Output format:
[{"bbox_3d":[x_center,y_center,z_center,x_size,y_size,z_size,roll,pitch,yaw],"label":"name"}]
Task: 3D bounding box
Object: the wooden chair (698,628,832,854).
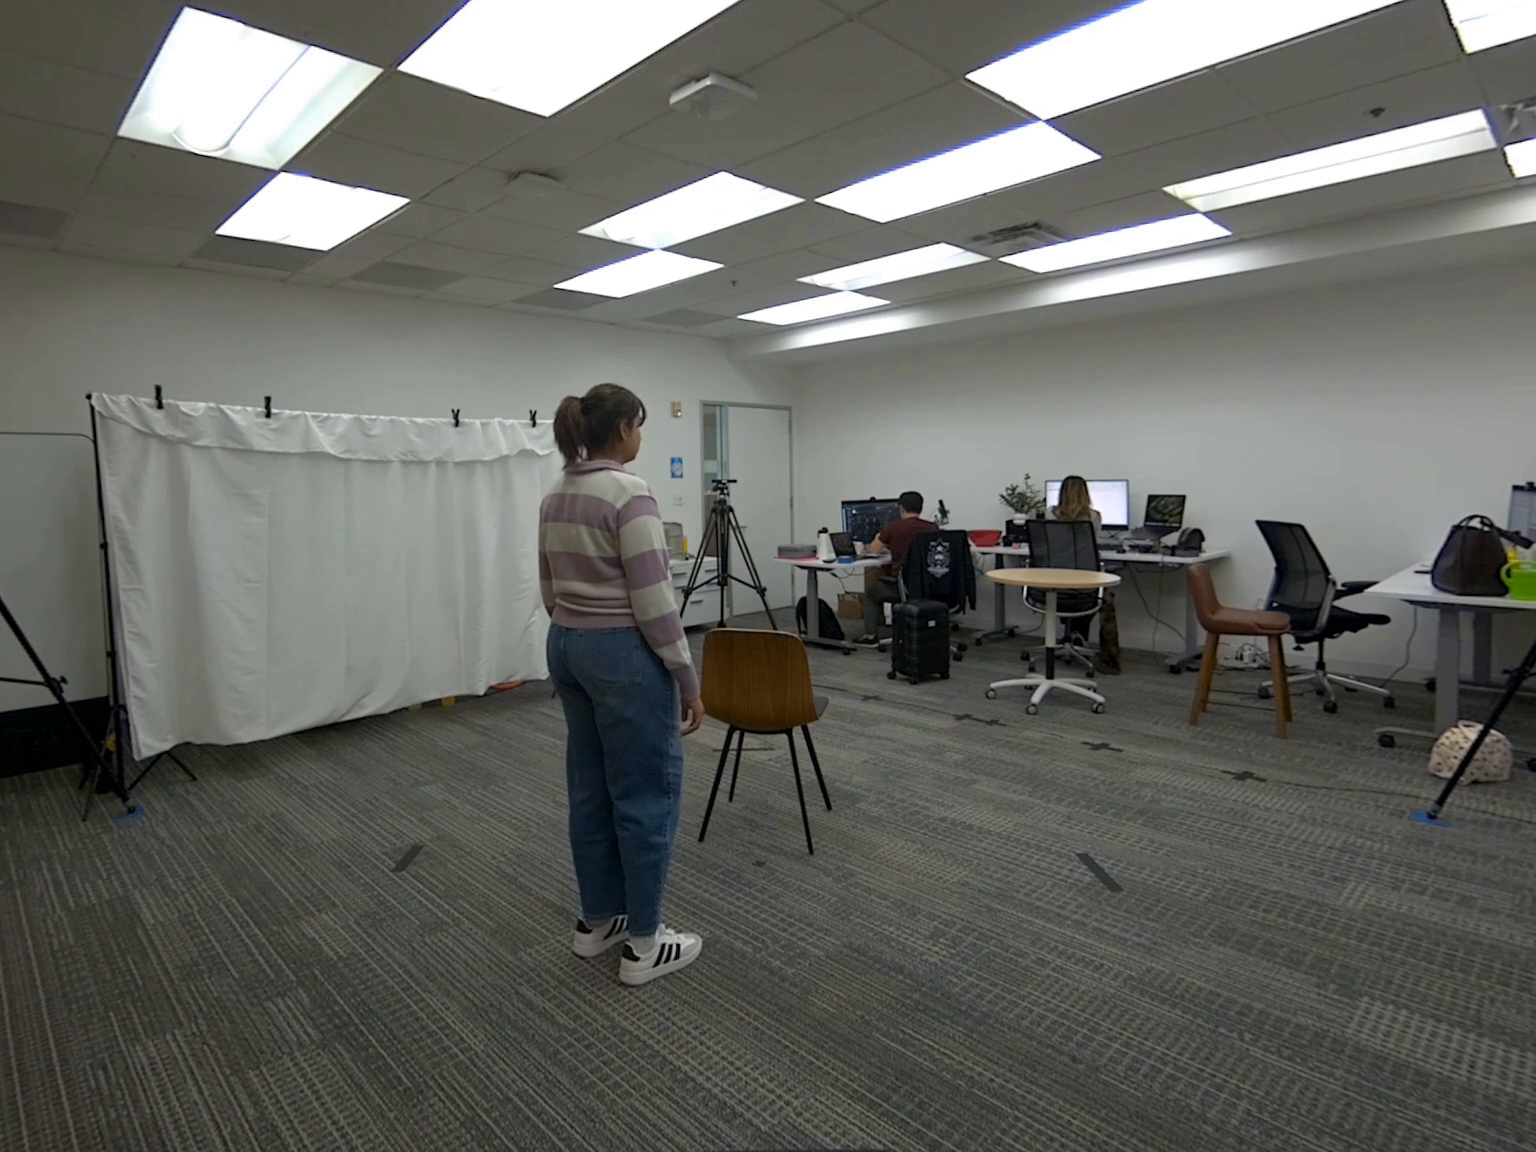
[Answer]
[{"bbox_3d":[-0.001,0.583,3.429,0.485,0.871,0.519,0,8,15],"label":"wooden chair"}]
